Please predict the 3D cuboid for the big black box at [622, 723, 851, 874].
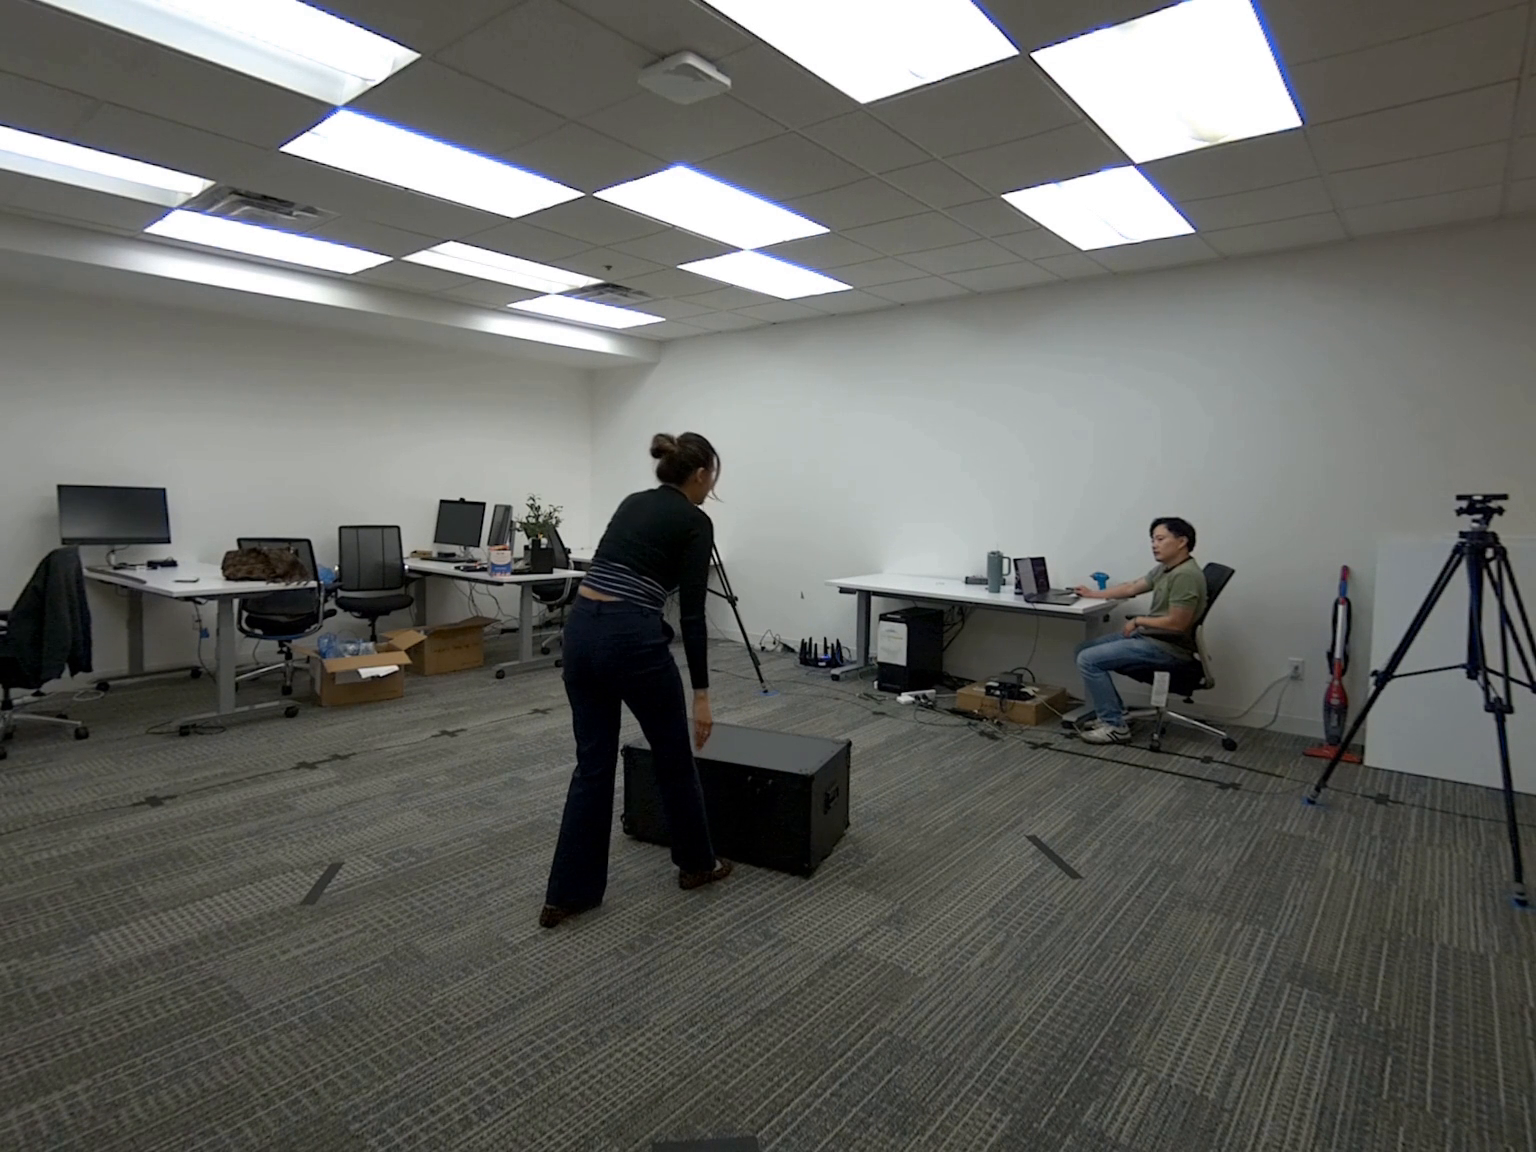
[{"bbox_3d":[-0.156,0.845,3.411,0.883,0.395,0.510,3,6,24],"label":"big black box"}]
